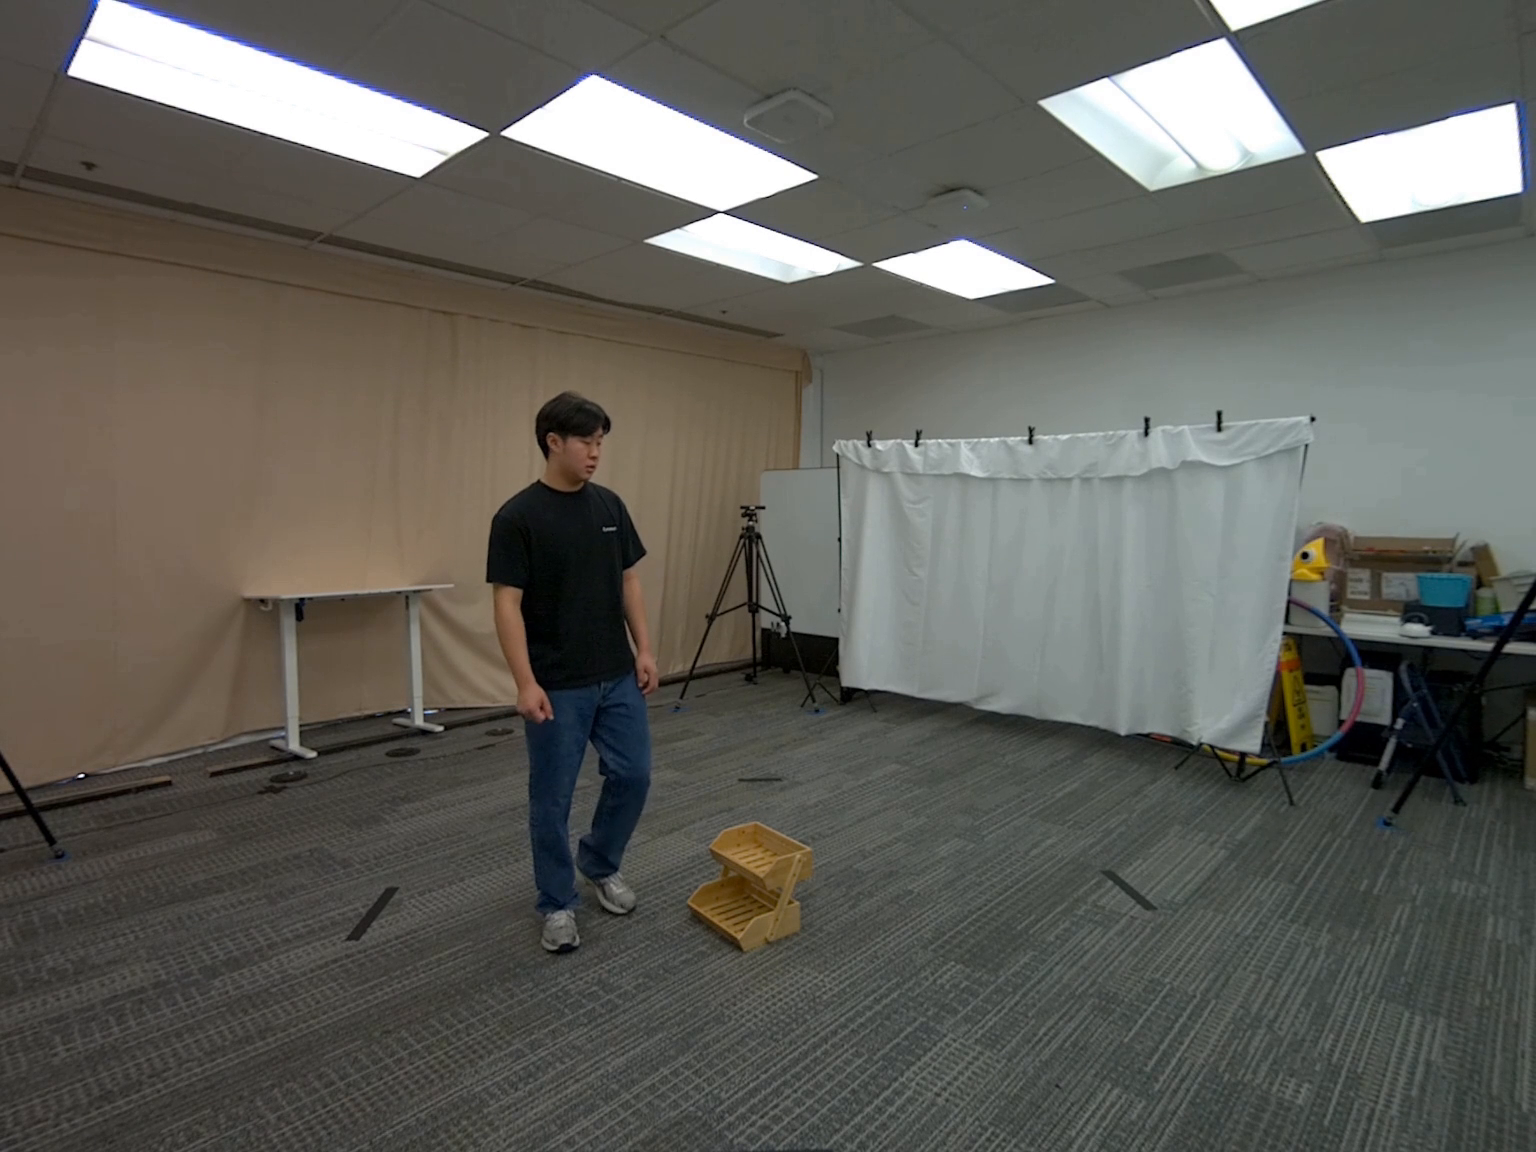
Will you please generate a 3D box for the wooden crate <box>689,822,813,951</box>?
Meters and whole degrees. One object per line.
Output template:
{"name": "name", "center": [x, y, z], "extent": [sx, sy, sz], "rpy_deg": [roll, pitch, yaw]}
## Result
{"name": "wooden crate", "center": [-0.063, 1.026, 2.813], "extent": [0.293, 0.273, 0.335], "rpy_deg": [-2, 4, -37]}
